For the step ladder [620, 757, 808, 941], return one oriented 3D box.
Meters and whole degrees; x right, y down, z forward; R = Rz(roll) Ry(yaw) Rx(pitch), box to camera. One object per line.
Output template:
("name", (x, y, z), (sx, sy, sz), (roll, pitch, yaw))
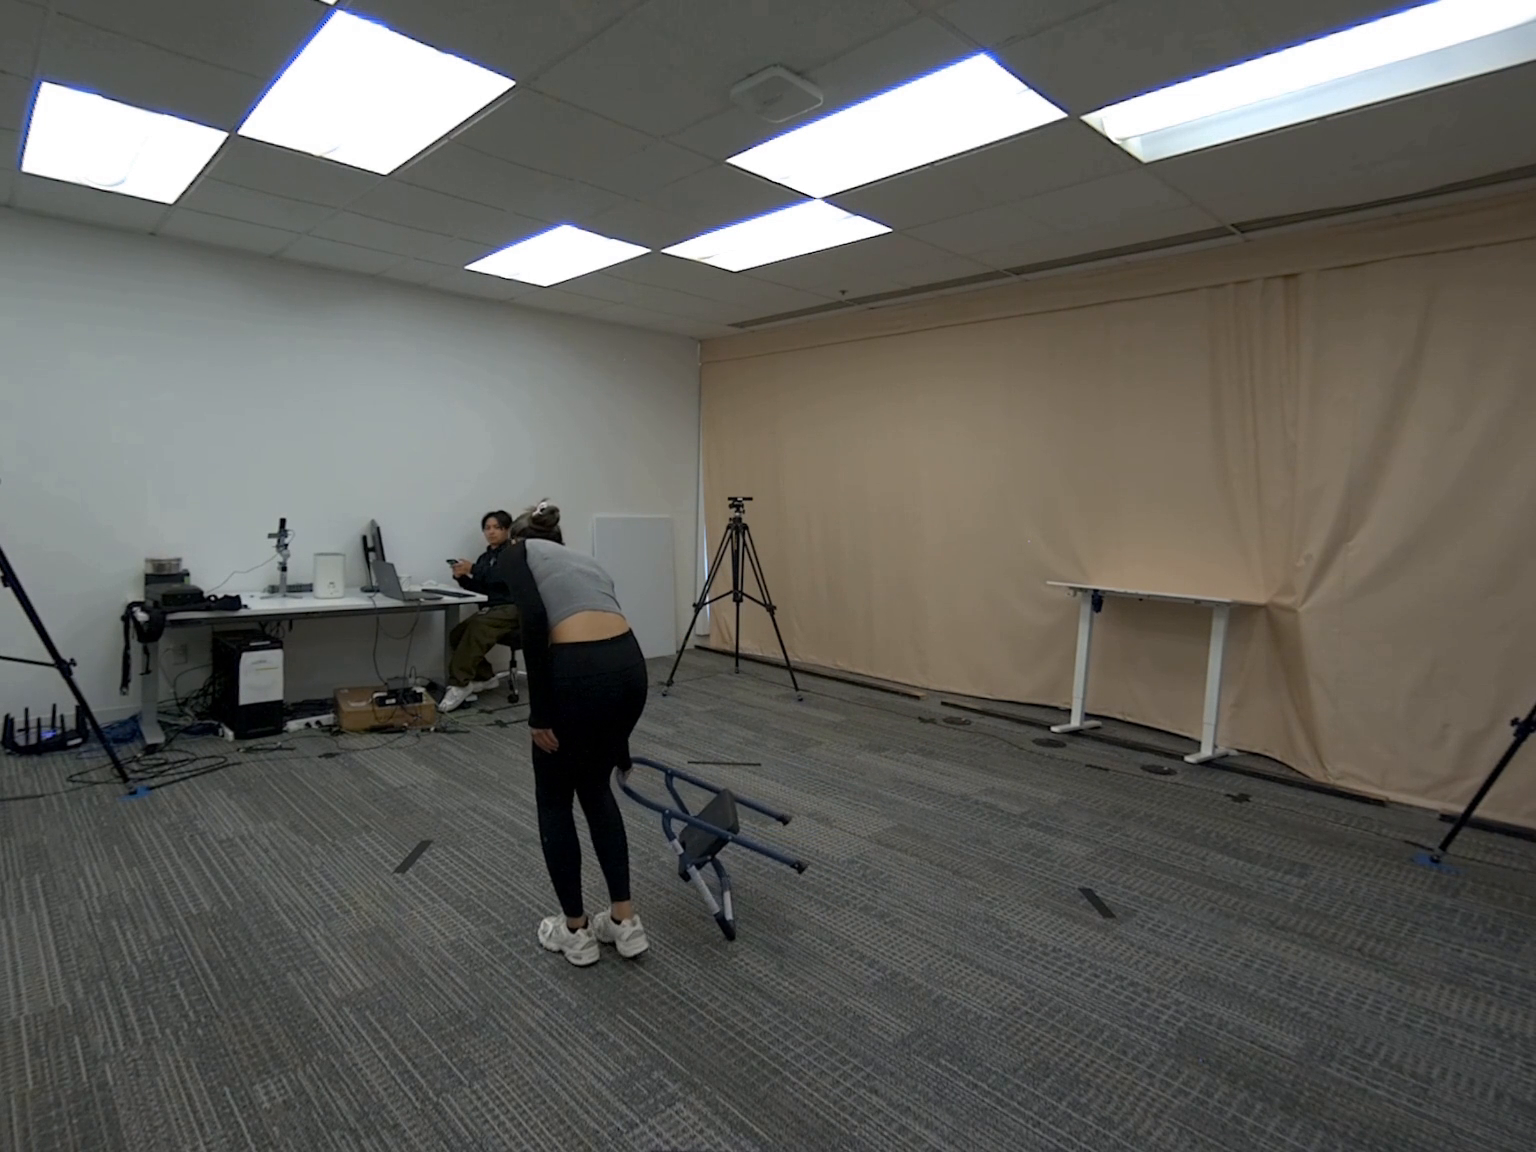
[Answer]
("step ladder", (-0.233, 0.806, 2.826), (0.603, 0.349, 0.433), (45, -1, -5))
